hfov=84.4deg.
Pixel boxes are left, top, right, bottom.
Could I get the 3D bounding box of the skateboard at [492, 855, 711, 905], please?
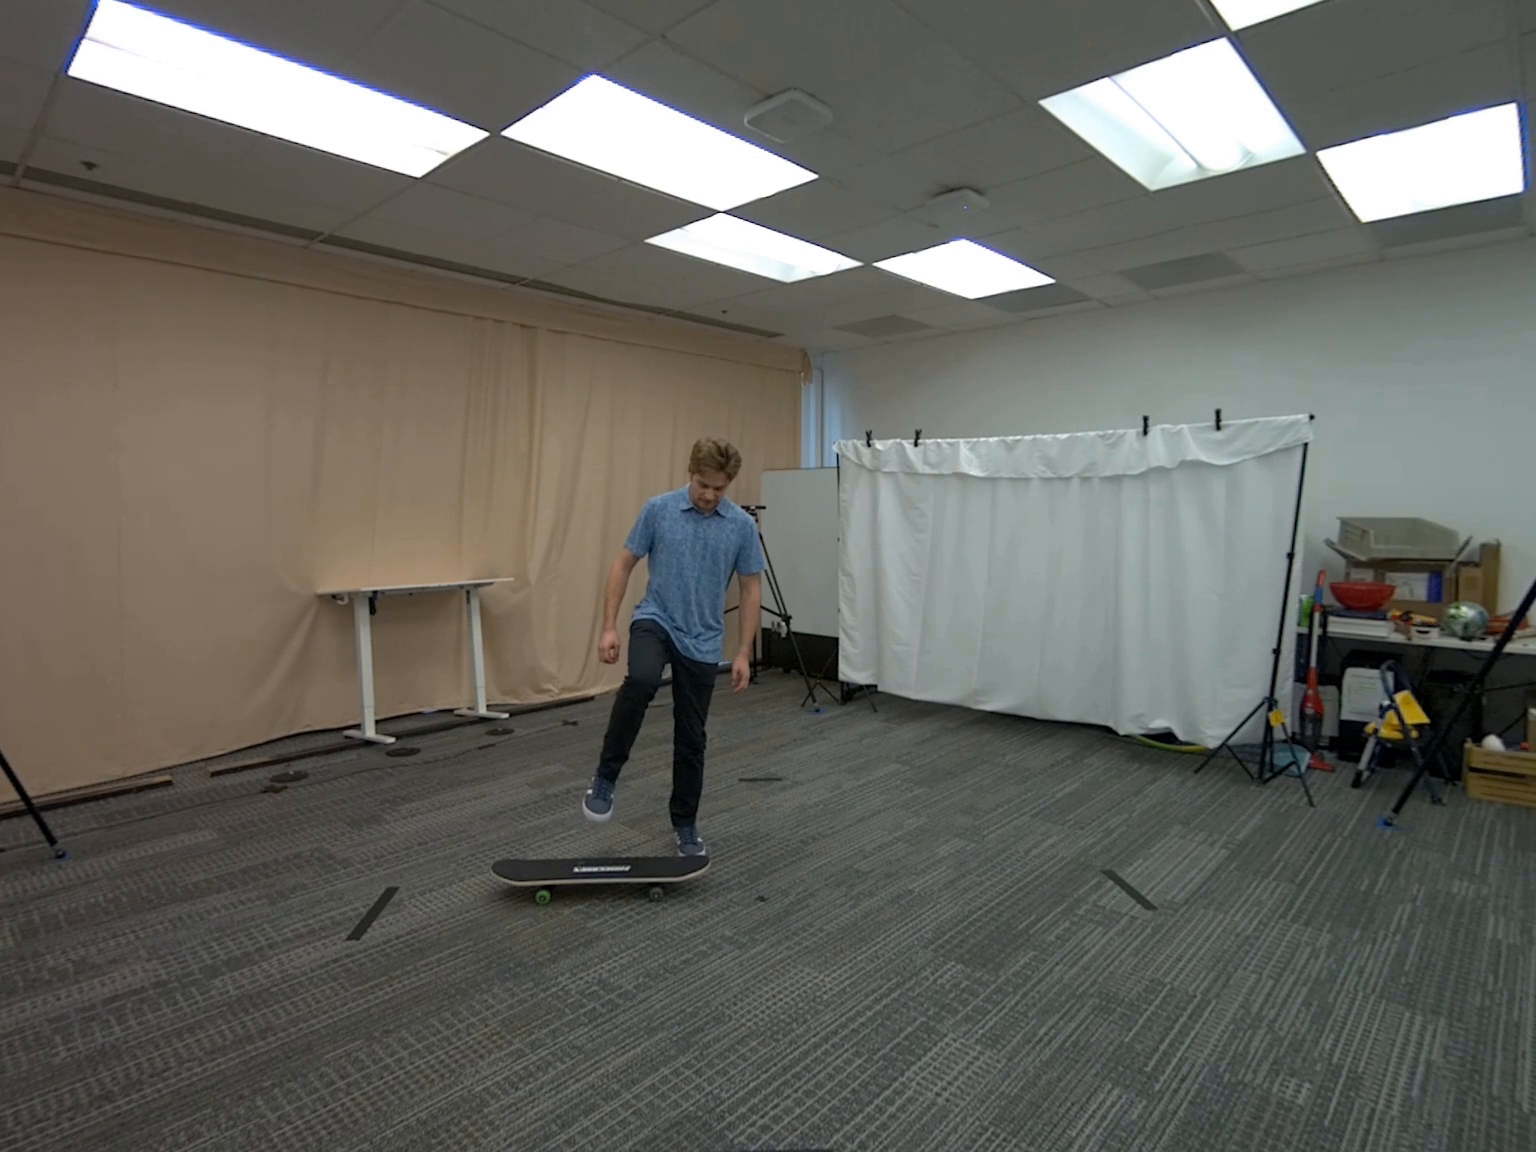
[{"bbox_3d":[-0.596,1.084,3.038,0.783,0.110,0.194,-1,4,-2],"label":"skateboard"}]
